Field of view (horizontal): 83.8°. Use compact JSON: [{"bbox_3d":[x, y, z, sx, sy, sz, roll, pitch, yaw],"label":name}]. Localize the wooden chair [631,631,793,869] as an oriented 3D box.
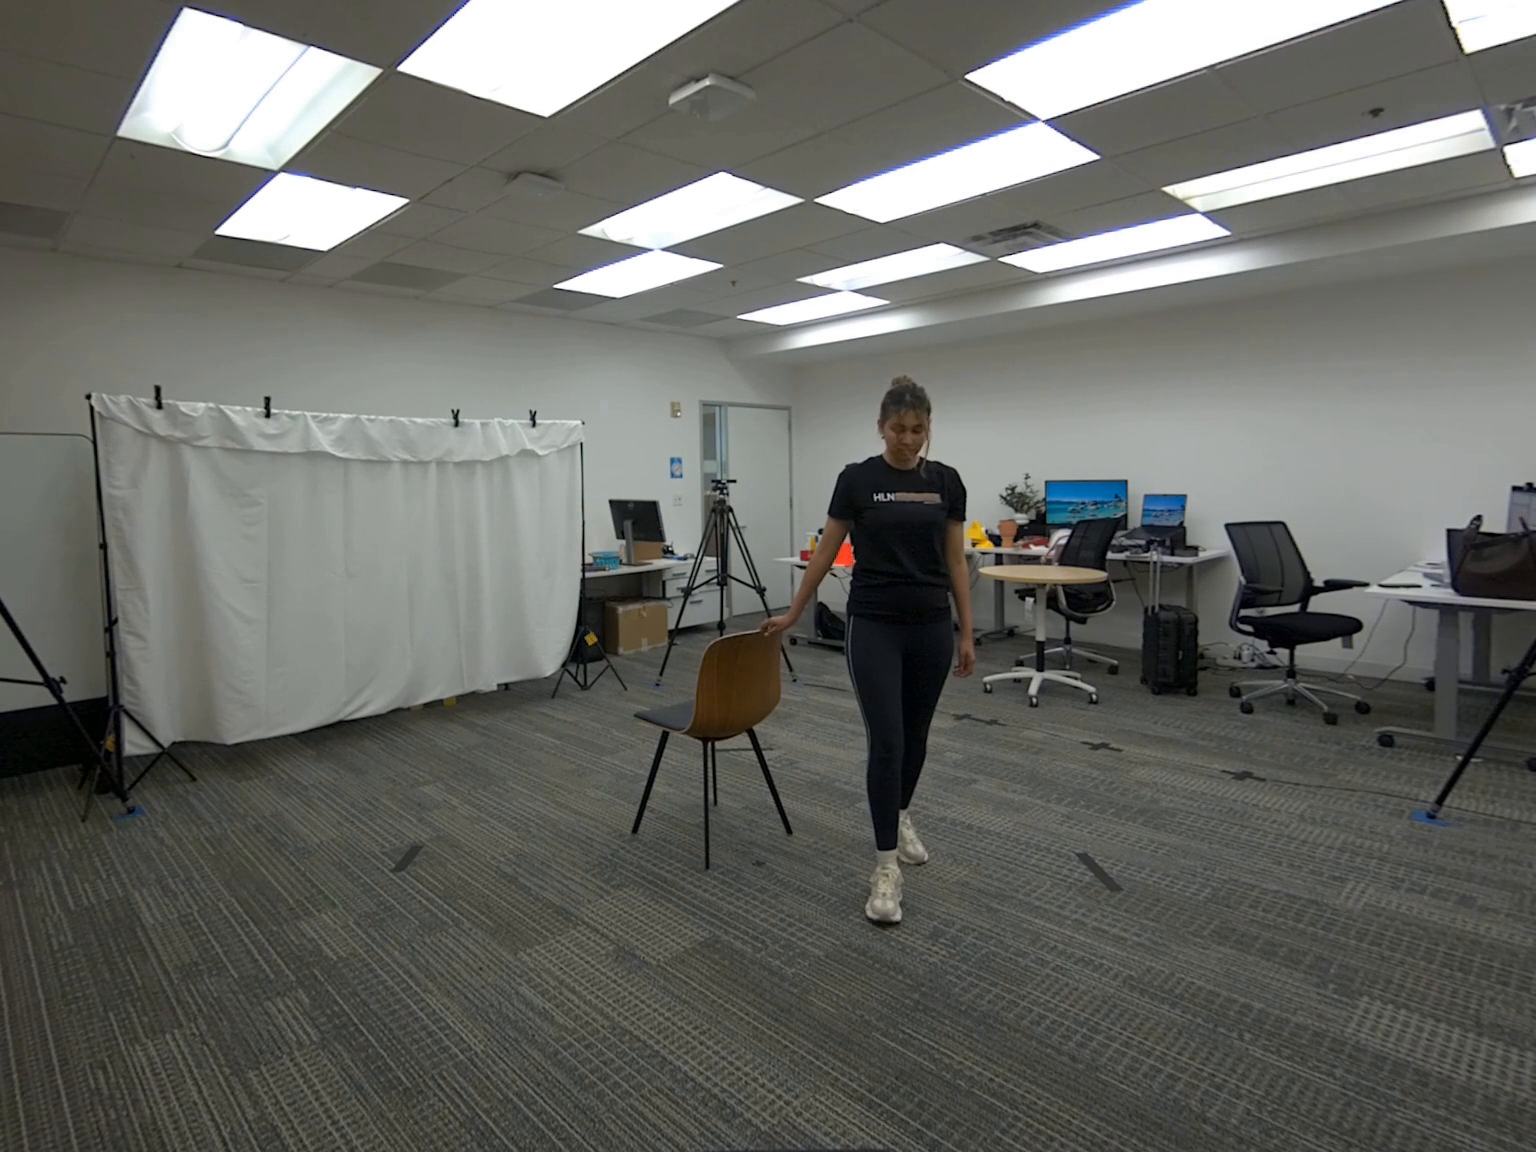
[{"bbox_3d":[-0.234,0.596,3.354,0.465,0.872,0.541,-5,10,-44],"label":"wooden chair"}]
